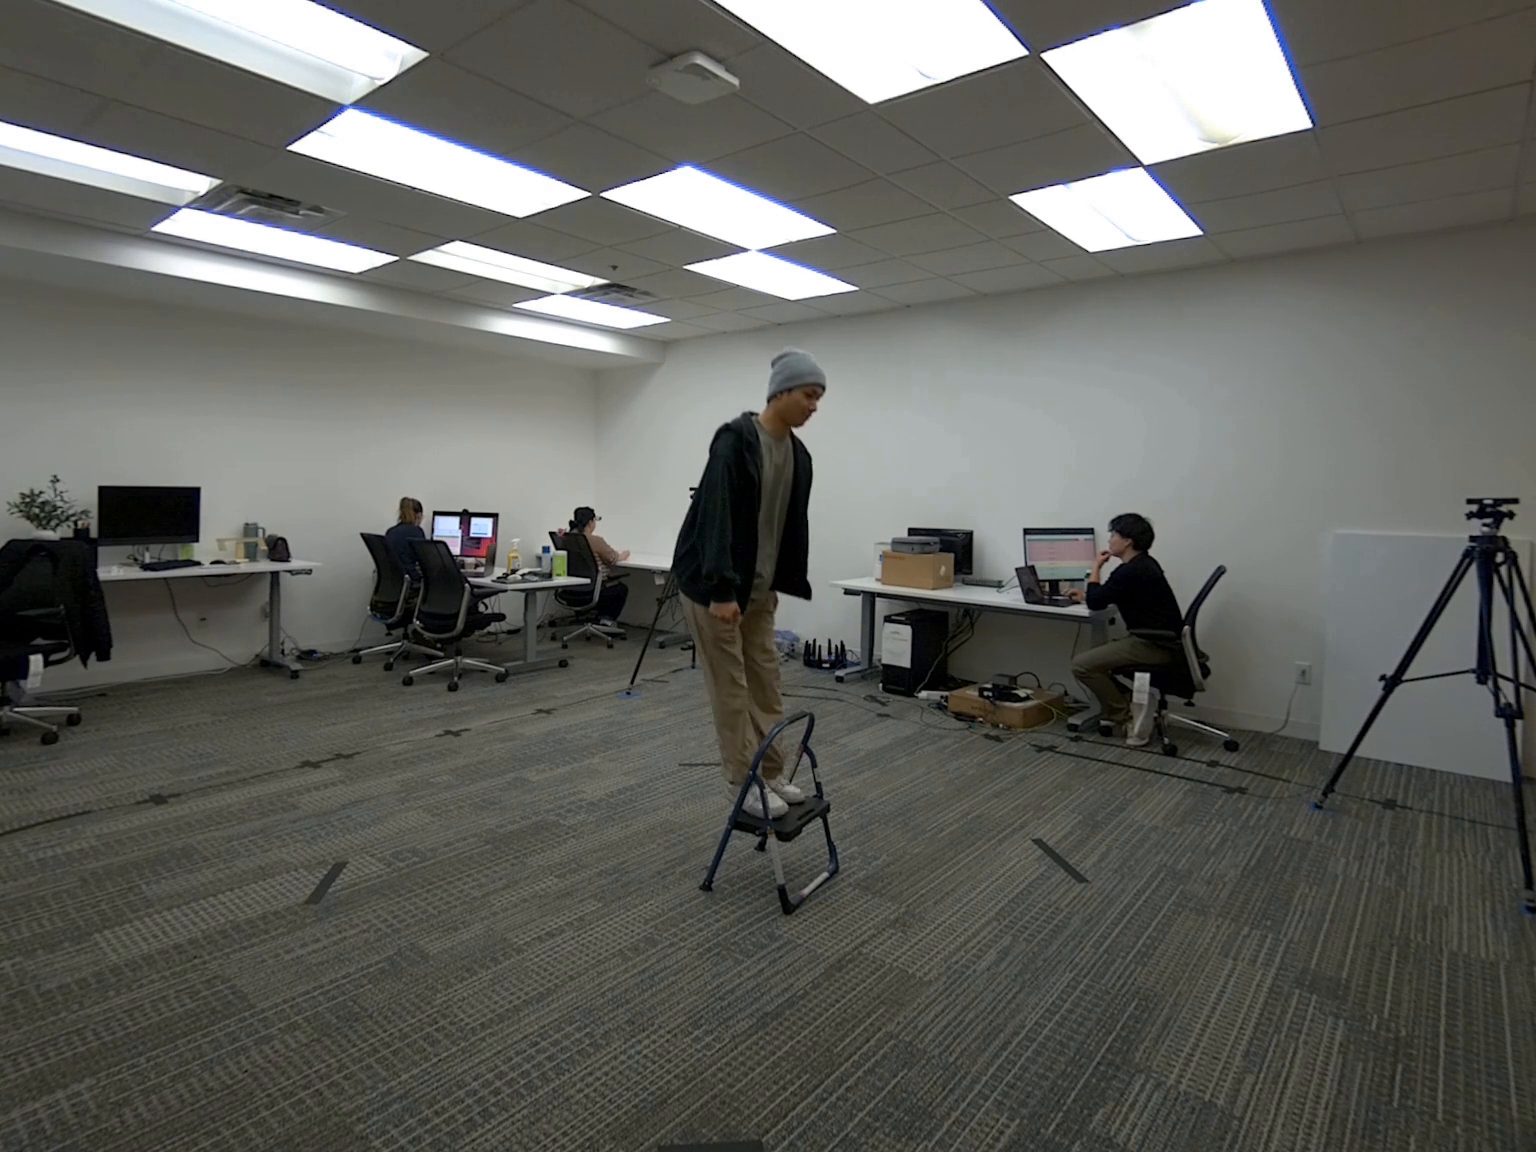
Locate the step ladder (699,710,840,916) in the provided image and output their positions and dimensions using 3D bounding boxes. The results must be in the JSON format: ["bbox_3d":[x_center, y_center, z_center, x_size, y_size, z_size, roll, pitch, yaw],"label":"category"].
[{"bbox_3d":[0.016,0.779,3.018,0.359,0.604,0.419,4,4,29],"label":"step ladder"}]
